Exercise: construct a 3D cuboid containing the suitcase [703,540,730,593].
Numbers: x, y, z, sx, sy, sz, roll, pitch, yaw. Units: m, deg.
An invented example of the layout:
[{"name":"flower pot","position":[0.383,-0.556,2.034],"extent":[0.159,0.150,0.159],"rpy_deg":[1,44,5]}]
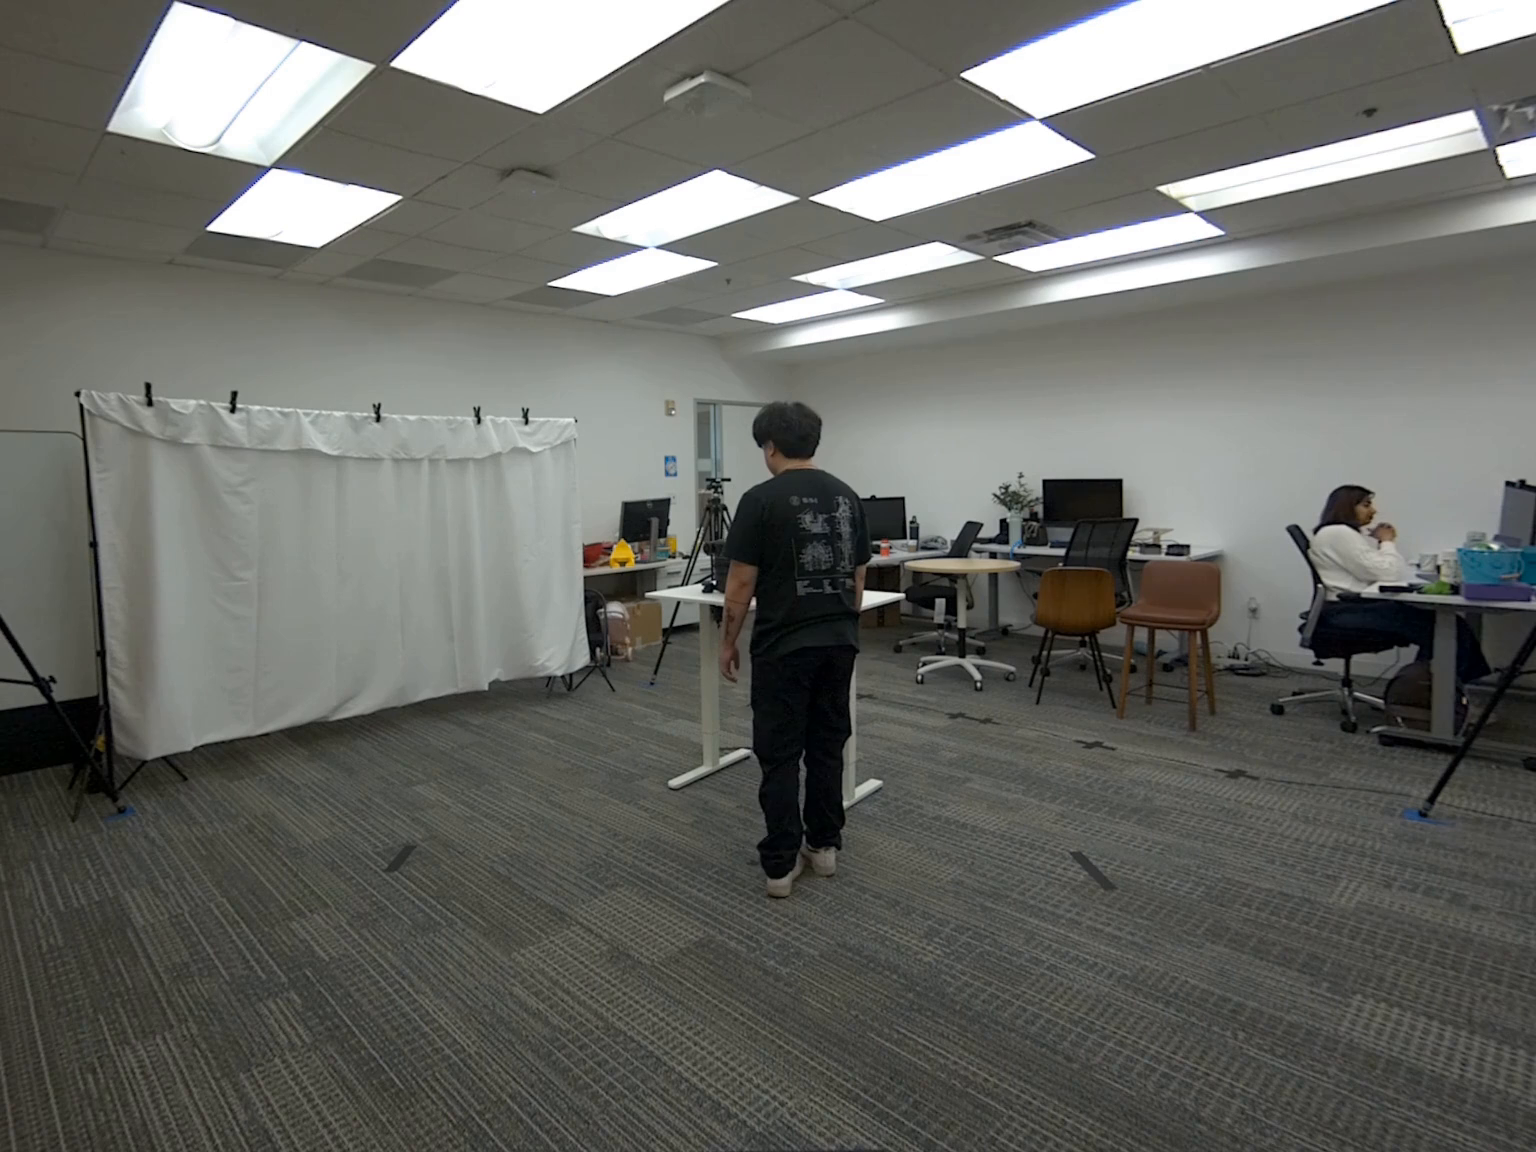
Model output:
[{"name":"suitcase","position":[0.028,-0.036,3.824],"extent":[0.566,0.247,0.366],"rpy_deg":[4,7,40]}]
